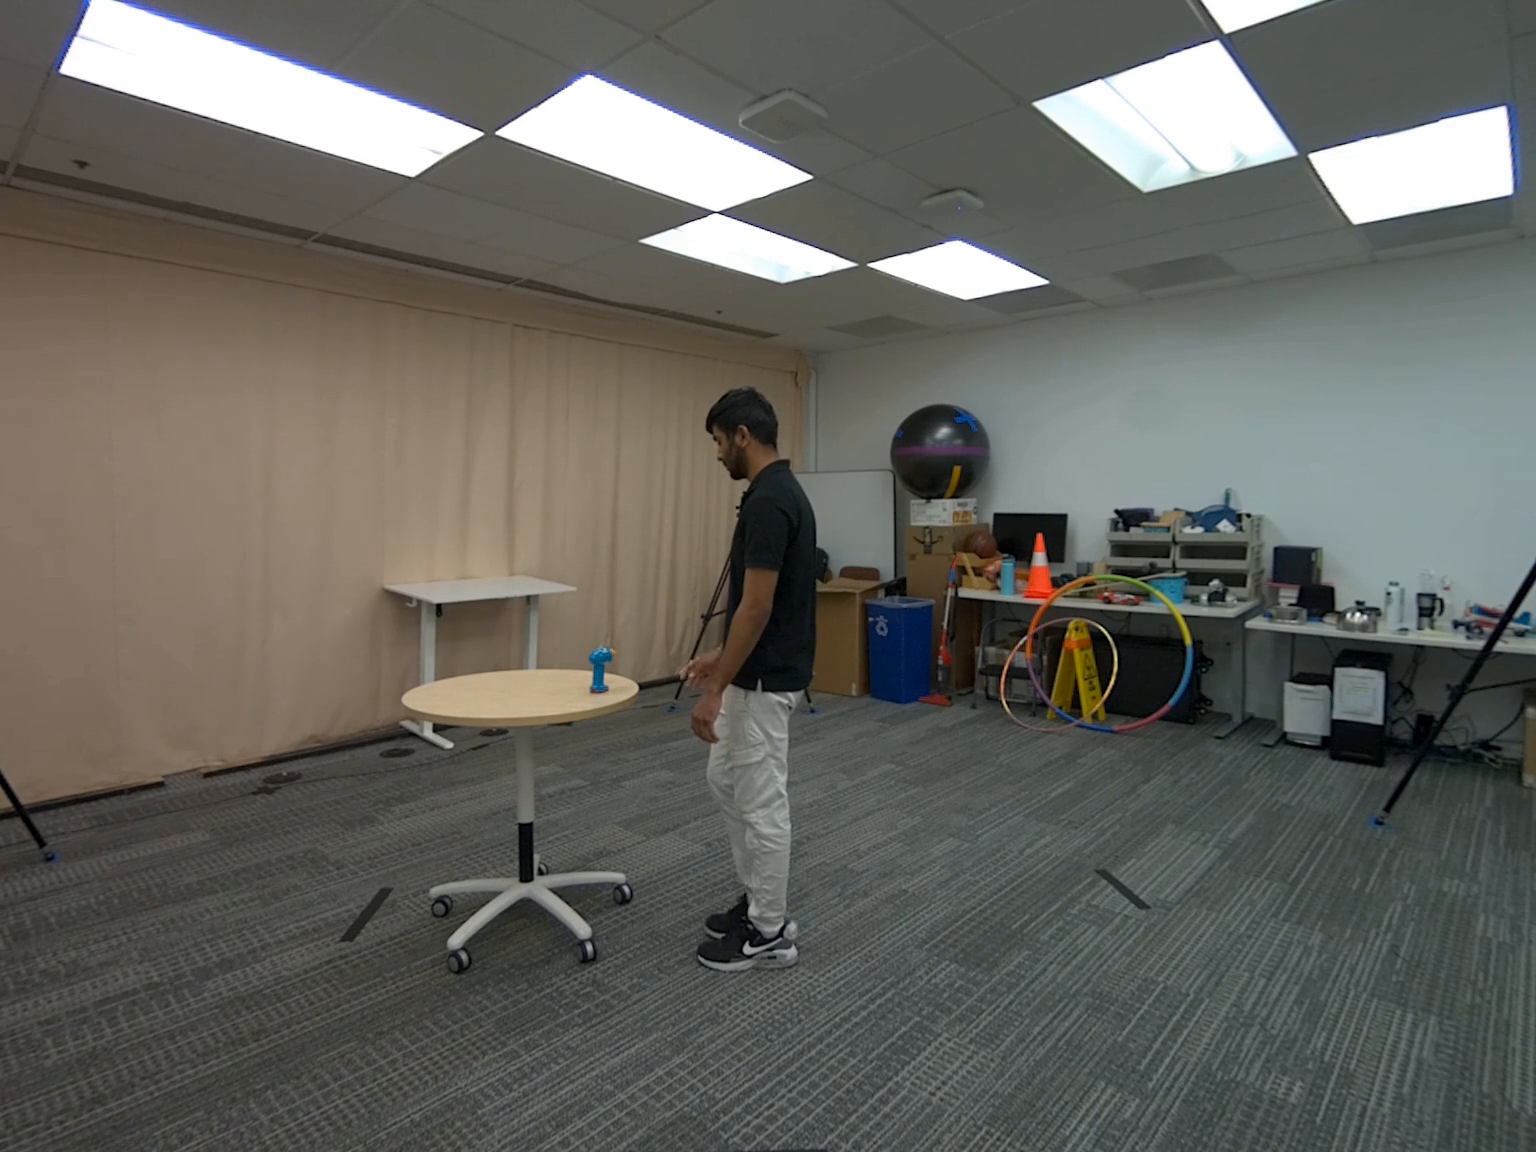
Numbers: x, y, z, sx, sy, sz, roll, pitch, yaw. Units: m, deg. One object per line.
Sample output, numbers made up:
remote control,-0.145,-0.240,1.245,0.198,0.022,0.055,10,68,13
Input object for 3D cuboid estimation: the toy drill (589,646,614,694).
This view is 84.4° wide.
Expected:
toy drill,-0.551,0.308,2.814,0.062,0.145,0.169,1,5,7
